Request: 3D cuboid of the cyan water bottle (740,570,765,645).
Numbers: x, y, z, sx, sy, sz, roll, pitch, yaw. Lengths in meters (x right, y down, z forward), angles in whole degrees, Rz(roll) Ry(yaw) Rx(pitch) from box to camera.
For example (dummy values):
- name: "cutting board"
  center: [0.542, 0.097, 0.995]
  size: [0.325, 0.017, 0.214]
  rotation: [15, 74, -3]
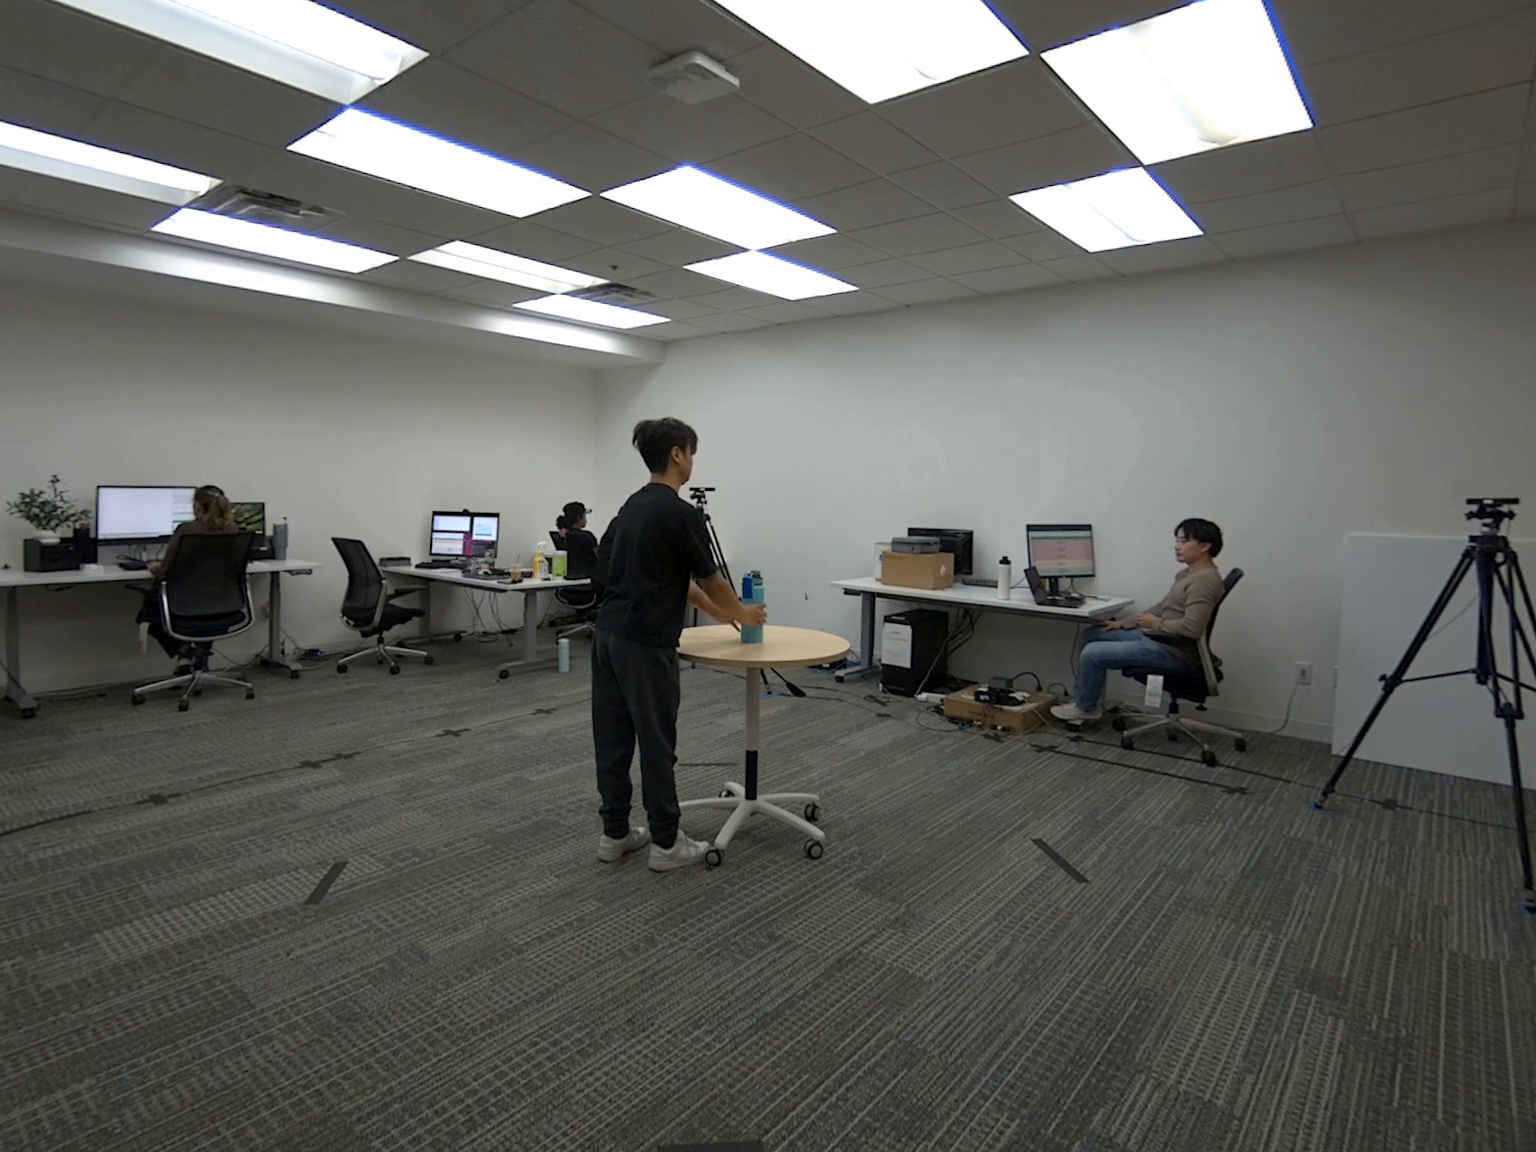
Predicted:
- name: "cyan water bottle"
  center: [-0.072, 0.121, 3.399]
  size: [0.092, 0.282, 0.093]
  rotation: [-1, 5, -2]
